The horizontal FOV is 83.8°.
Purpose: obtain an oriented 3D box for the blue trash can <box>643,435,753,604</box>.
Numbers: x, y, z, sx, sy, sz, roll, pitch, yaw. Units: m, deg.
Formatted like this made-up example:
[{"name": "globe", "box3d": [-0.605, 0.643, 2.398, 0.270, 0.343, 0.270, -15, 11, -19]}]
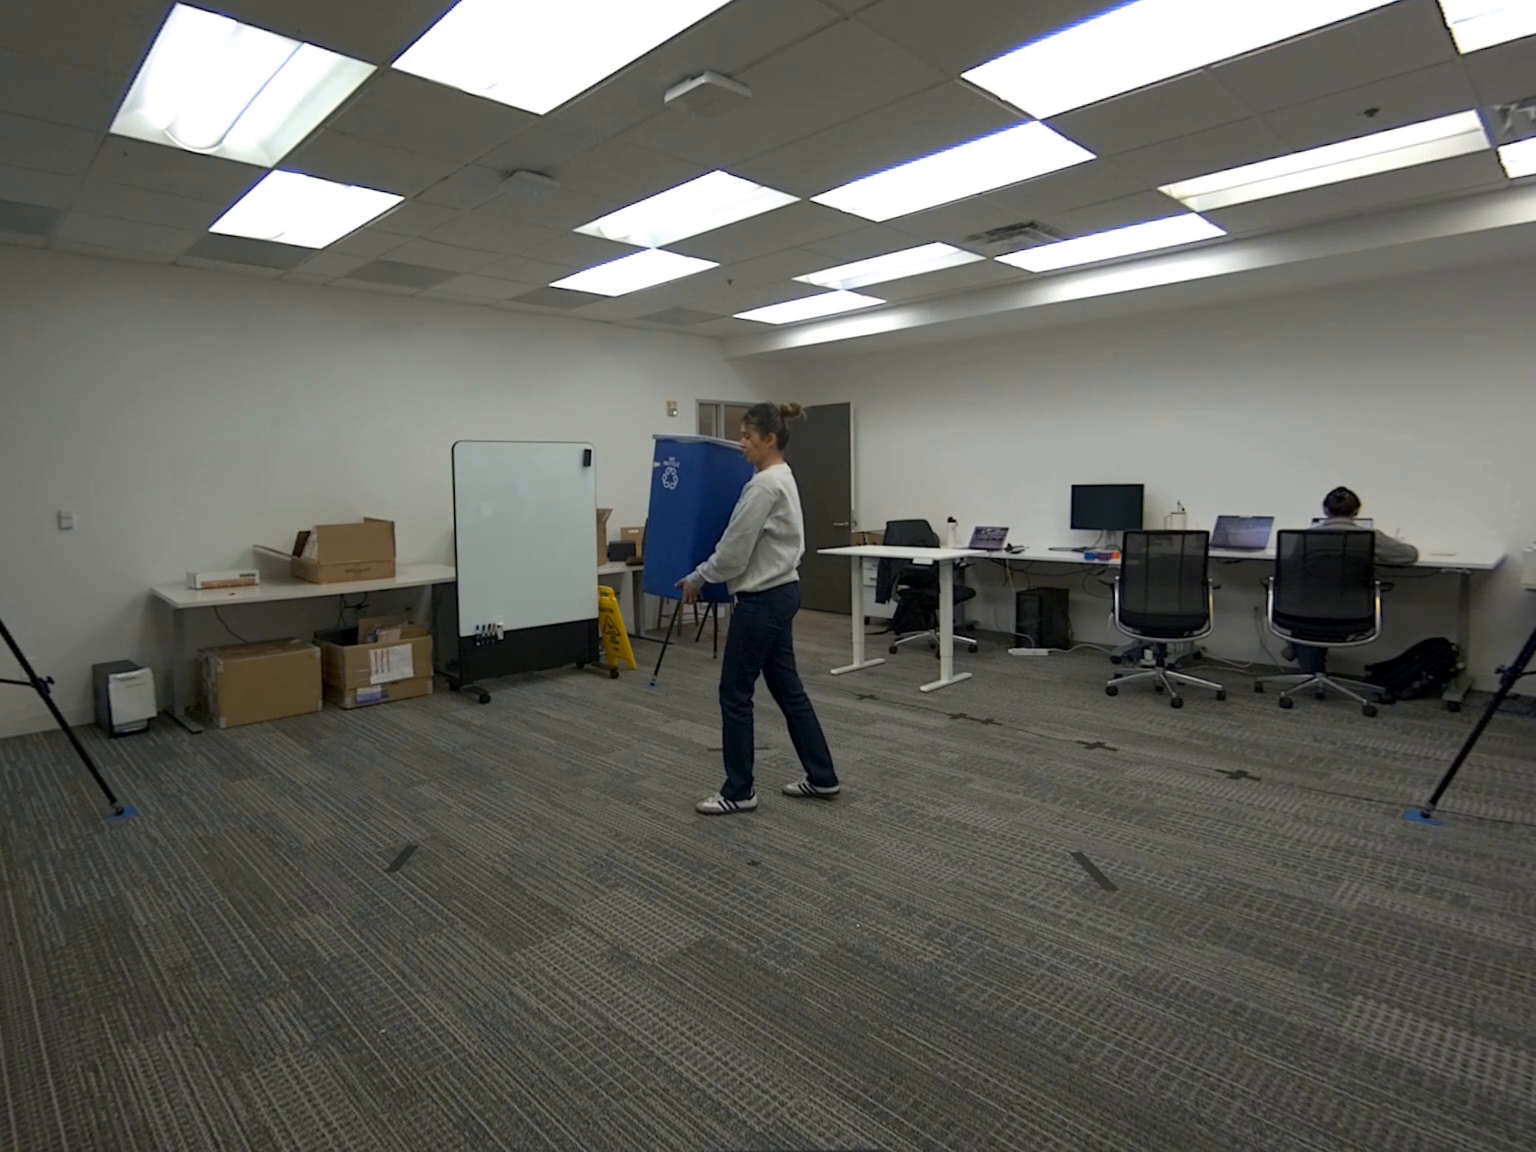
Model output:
[{"name": "blue trash can", "box3d": [-0.314, -0.259, 3.847, 0.386, 0.712, 0.366, 9, 3, 42]}]
